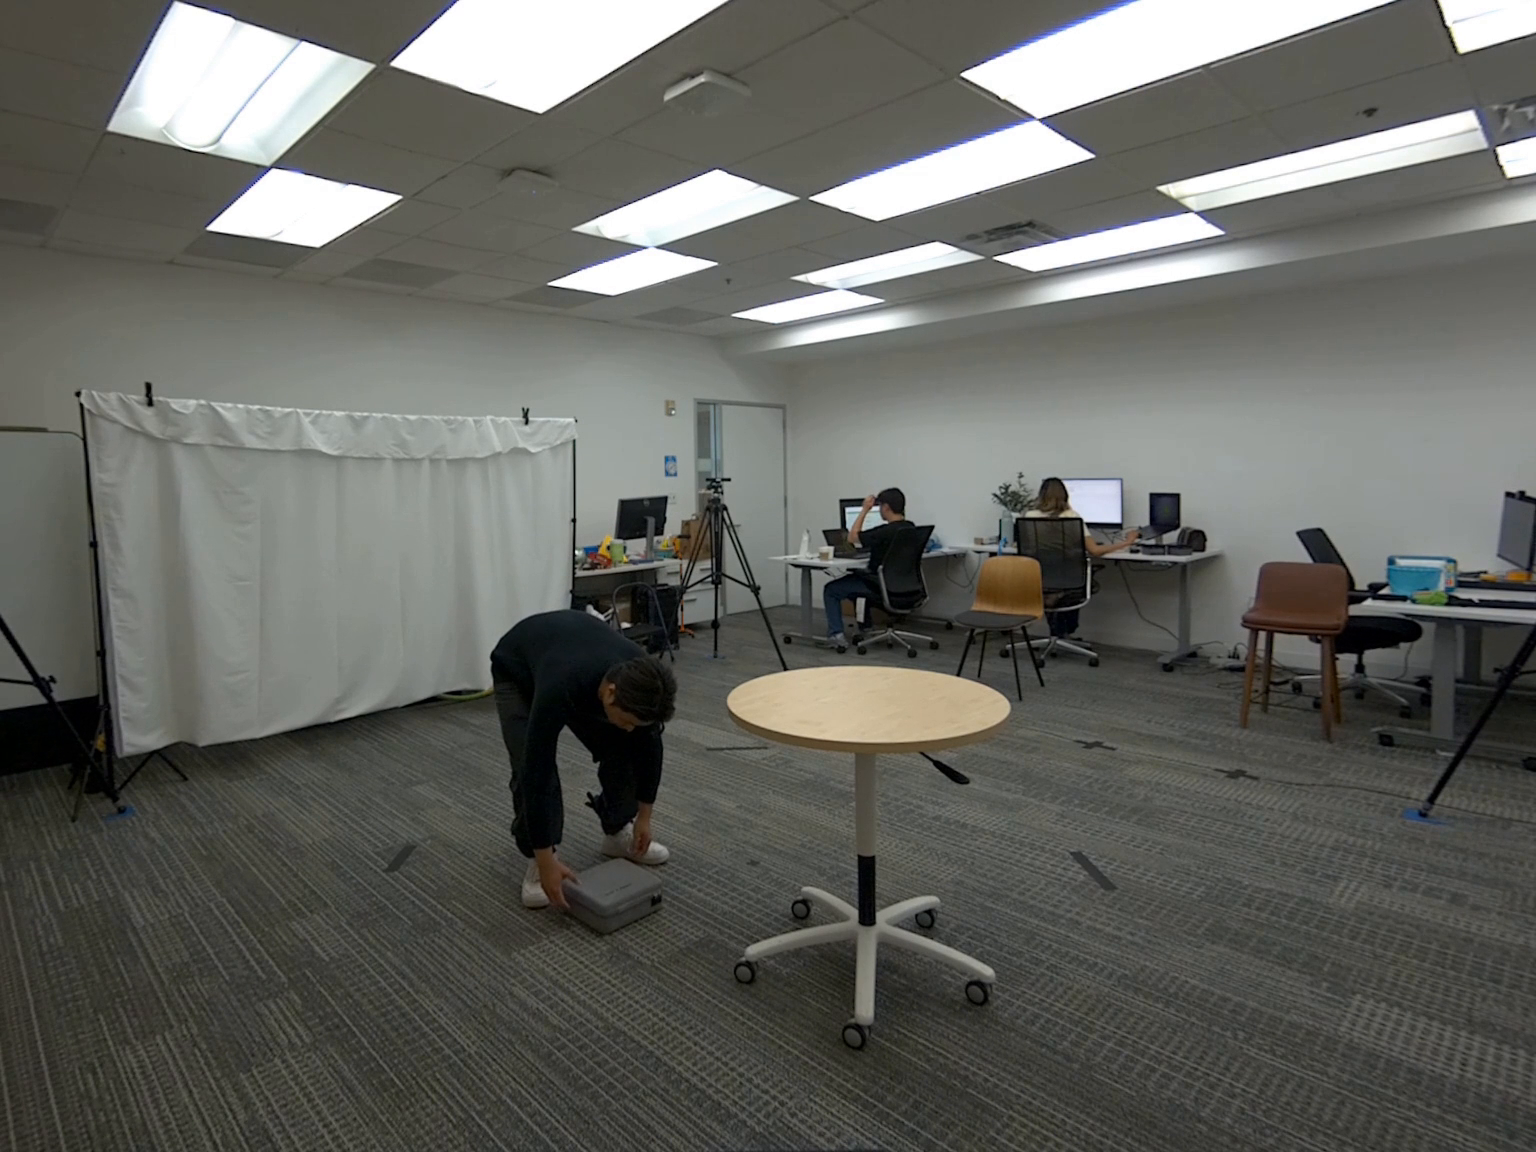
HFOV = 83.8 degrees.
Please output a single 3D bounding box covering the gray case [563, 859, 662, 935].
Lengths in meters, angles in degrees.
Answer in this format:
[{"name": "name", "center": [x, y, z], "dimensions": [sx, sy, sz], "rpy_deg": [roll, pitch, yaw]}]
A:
[{"name": "gray case", "center": [-0.515, 1.028, 2.785], "dimensions": [0.269, 0.104, 0.251], "rpy_deg": [5, 11, 43]}]
